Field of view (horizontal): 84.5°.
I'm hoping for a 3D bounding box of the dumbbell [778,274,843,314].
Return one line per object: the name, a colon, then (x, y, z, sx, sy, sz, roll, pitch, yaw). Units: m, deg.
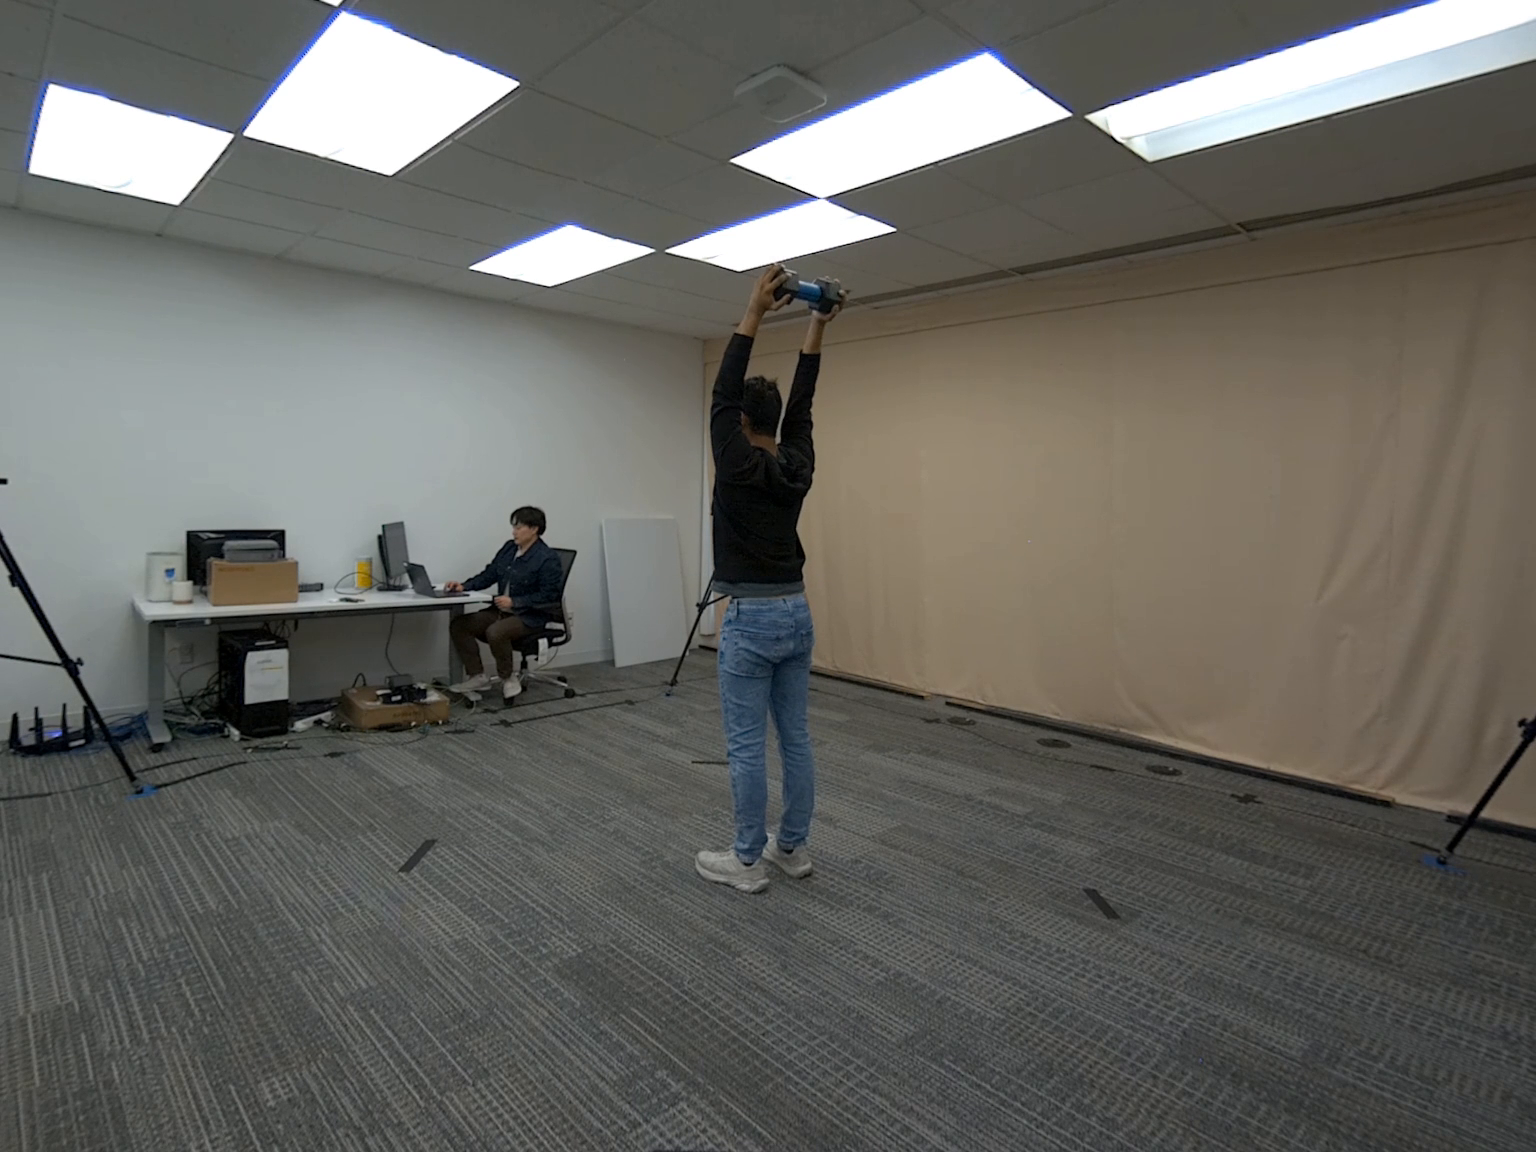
dumbbell: (0.108, -0.984, 2.887, 0.287, 0.107, 0.127, -5, 32, -40)
